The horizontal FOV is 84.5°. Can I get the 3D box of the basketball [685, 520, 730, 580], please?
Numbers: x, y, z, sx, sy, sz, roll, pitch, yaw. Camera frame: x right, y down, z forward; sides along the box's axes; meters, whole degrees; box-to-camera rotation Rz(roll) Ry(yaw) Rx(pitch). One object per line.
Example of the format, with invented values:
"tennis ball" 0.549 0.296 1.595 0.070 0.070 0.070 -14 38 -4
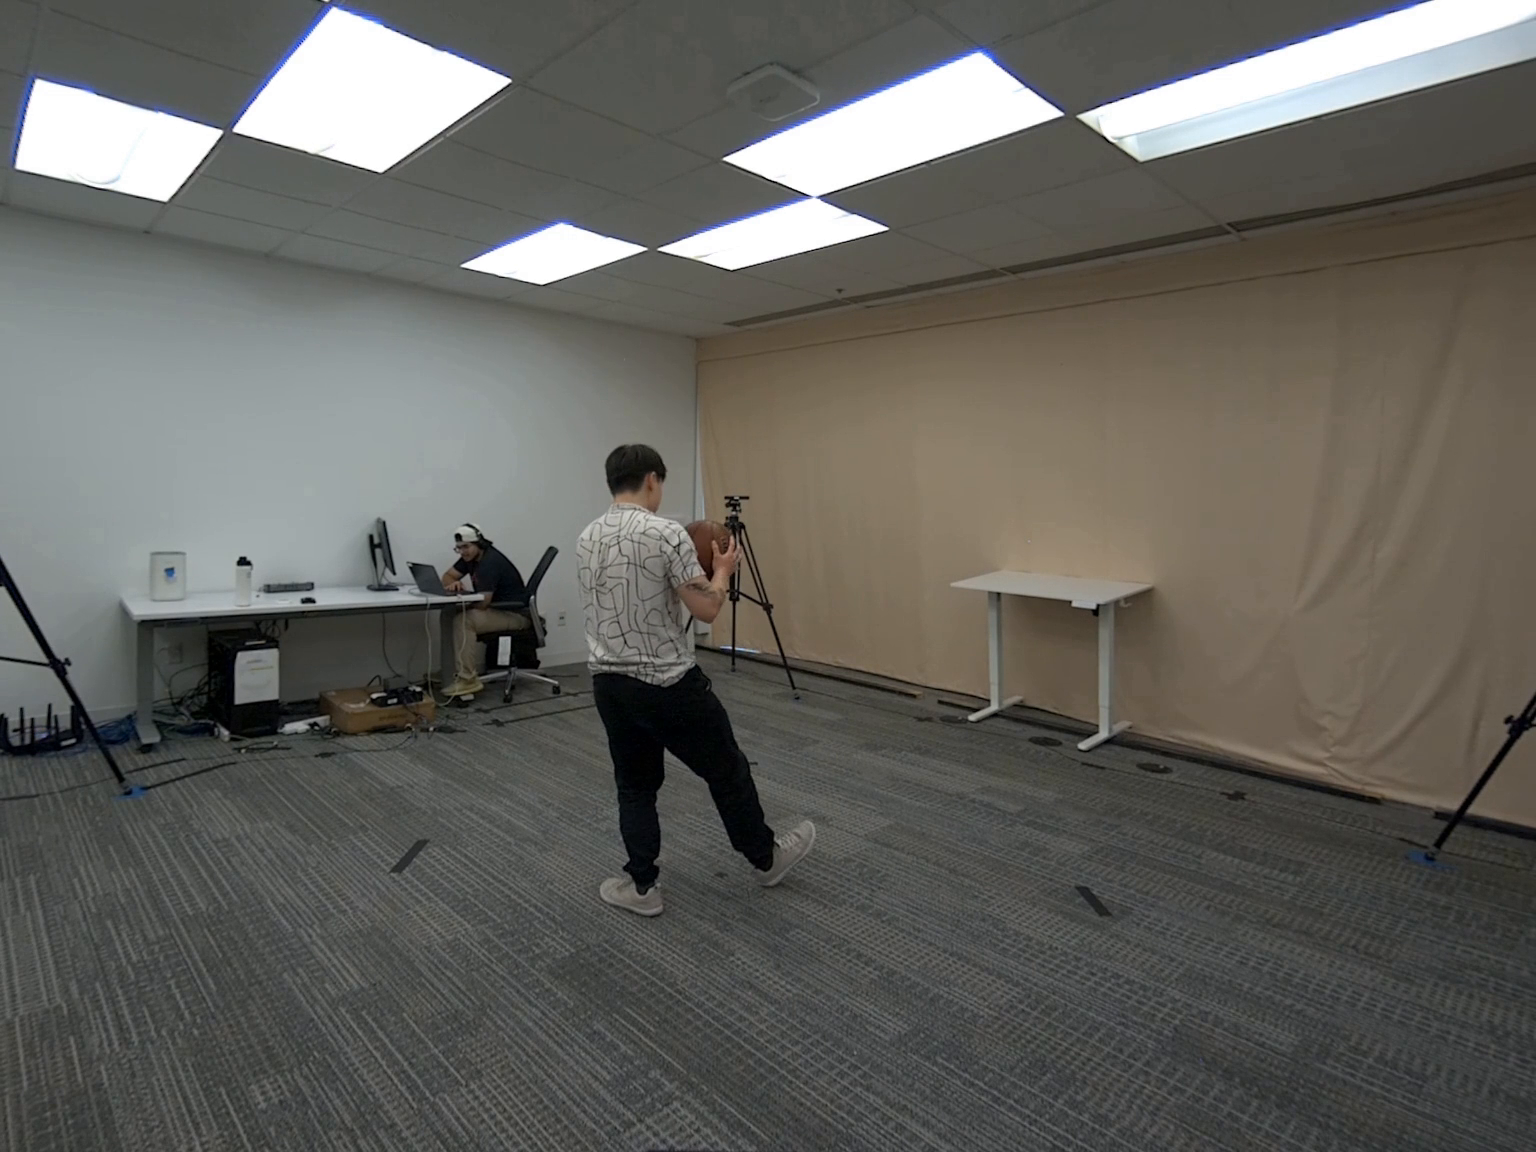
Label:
"basketball" -0.222 -0.078 3.039 0.236 0.235 0.237 1 4 -1
